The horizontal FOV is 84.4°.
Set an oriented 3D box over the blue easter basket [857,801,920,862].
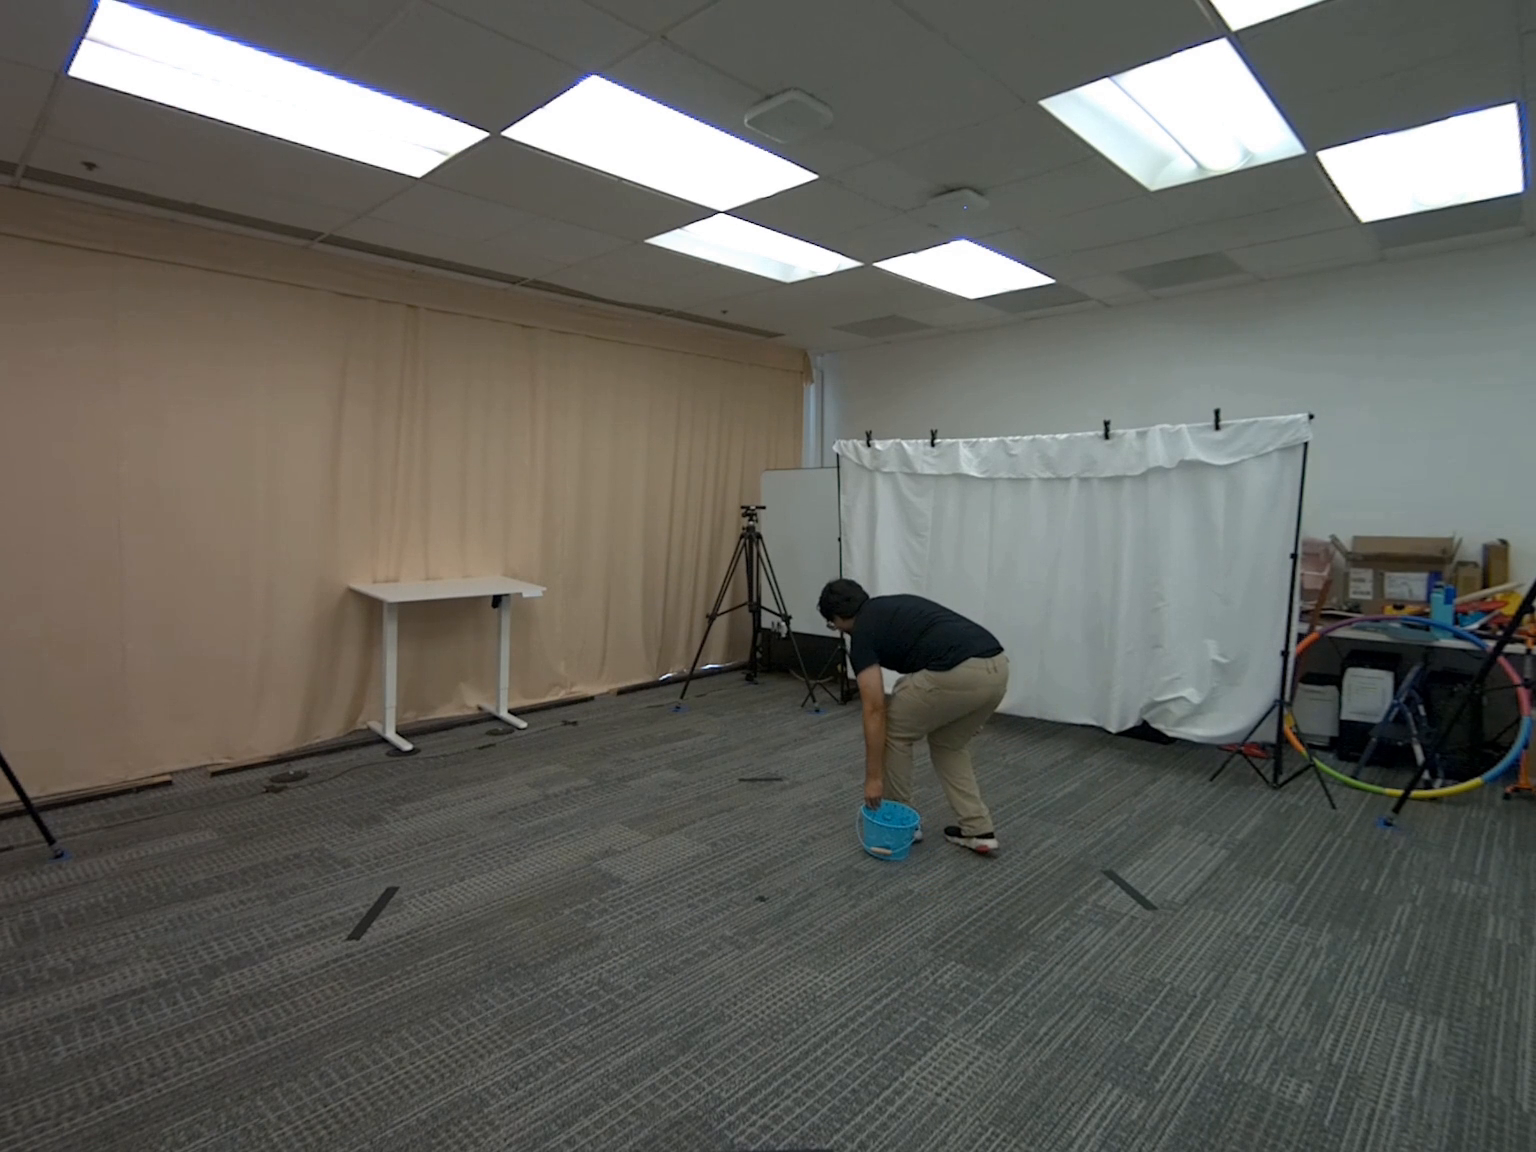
[{"bbox_3d":[0.485,1.023,3.379,0.243,0.155,0.245,5,9,-3],"label":"blue easter basket"}]
